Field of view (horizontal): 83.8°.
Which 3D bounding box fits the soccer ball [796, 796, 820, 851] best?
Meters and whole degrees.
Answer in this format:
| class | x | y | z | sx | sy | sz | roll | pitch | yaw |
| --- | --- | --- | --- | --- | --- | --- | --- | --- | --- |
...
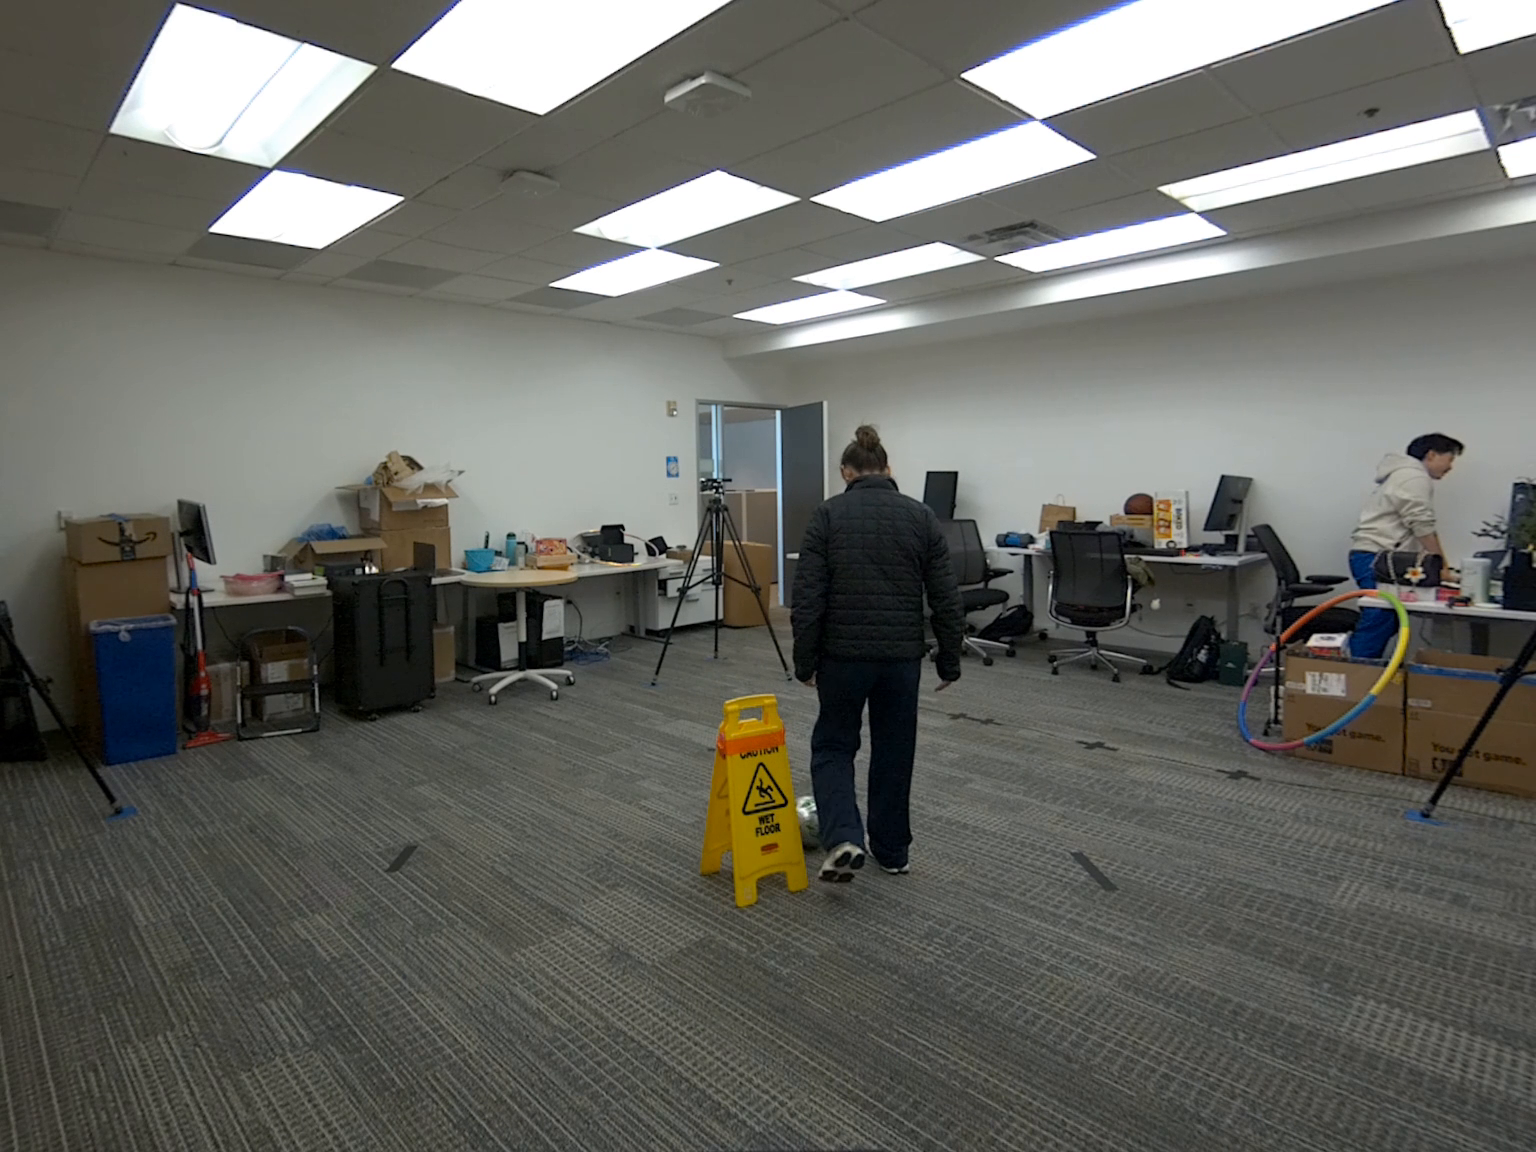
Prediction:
| class | x | y | z | sx | sy | sz | roll | pitch | yaw |
| --- | --- | --- | --- | --- | --- | --- | --- | --- | --- |
| soccer ball | 0.156 | 0.930 | 3.240 | 0.187 | 0.187 | 0.188 | -1 | 5 | -2 |
